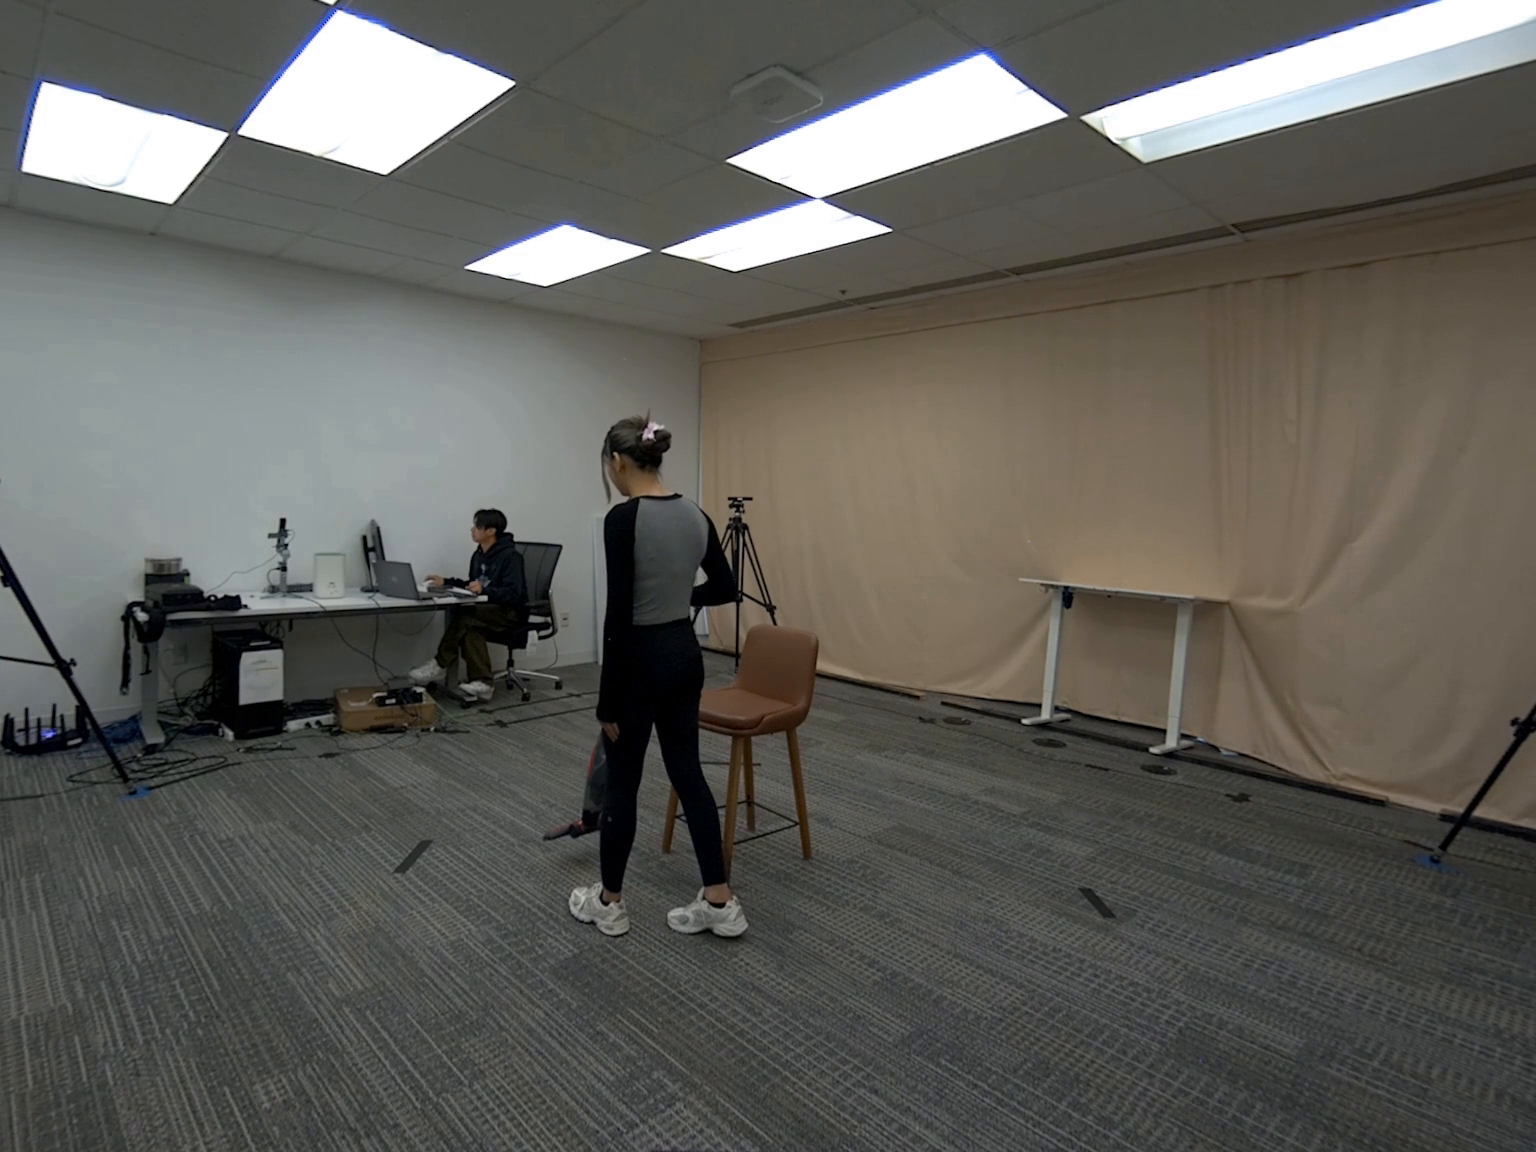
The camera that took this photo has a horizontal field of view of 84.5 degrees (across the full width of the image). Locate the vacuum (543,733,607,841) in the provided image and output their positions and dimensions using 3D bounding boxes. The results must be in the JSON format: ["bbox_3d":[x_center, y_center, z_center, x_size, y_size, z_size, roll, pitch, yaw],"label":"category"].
[{"bbox_3d":[-0.549,0.522,3.017,0.246,1.041,0.148,-1,29,-46],"label":"vacuum"}]
